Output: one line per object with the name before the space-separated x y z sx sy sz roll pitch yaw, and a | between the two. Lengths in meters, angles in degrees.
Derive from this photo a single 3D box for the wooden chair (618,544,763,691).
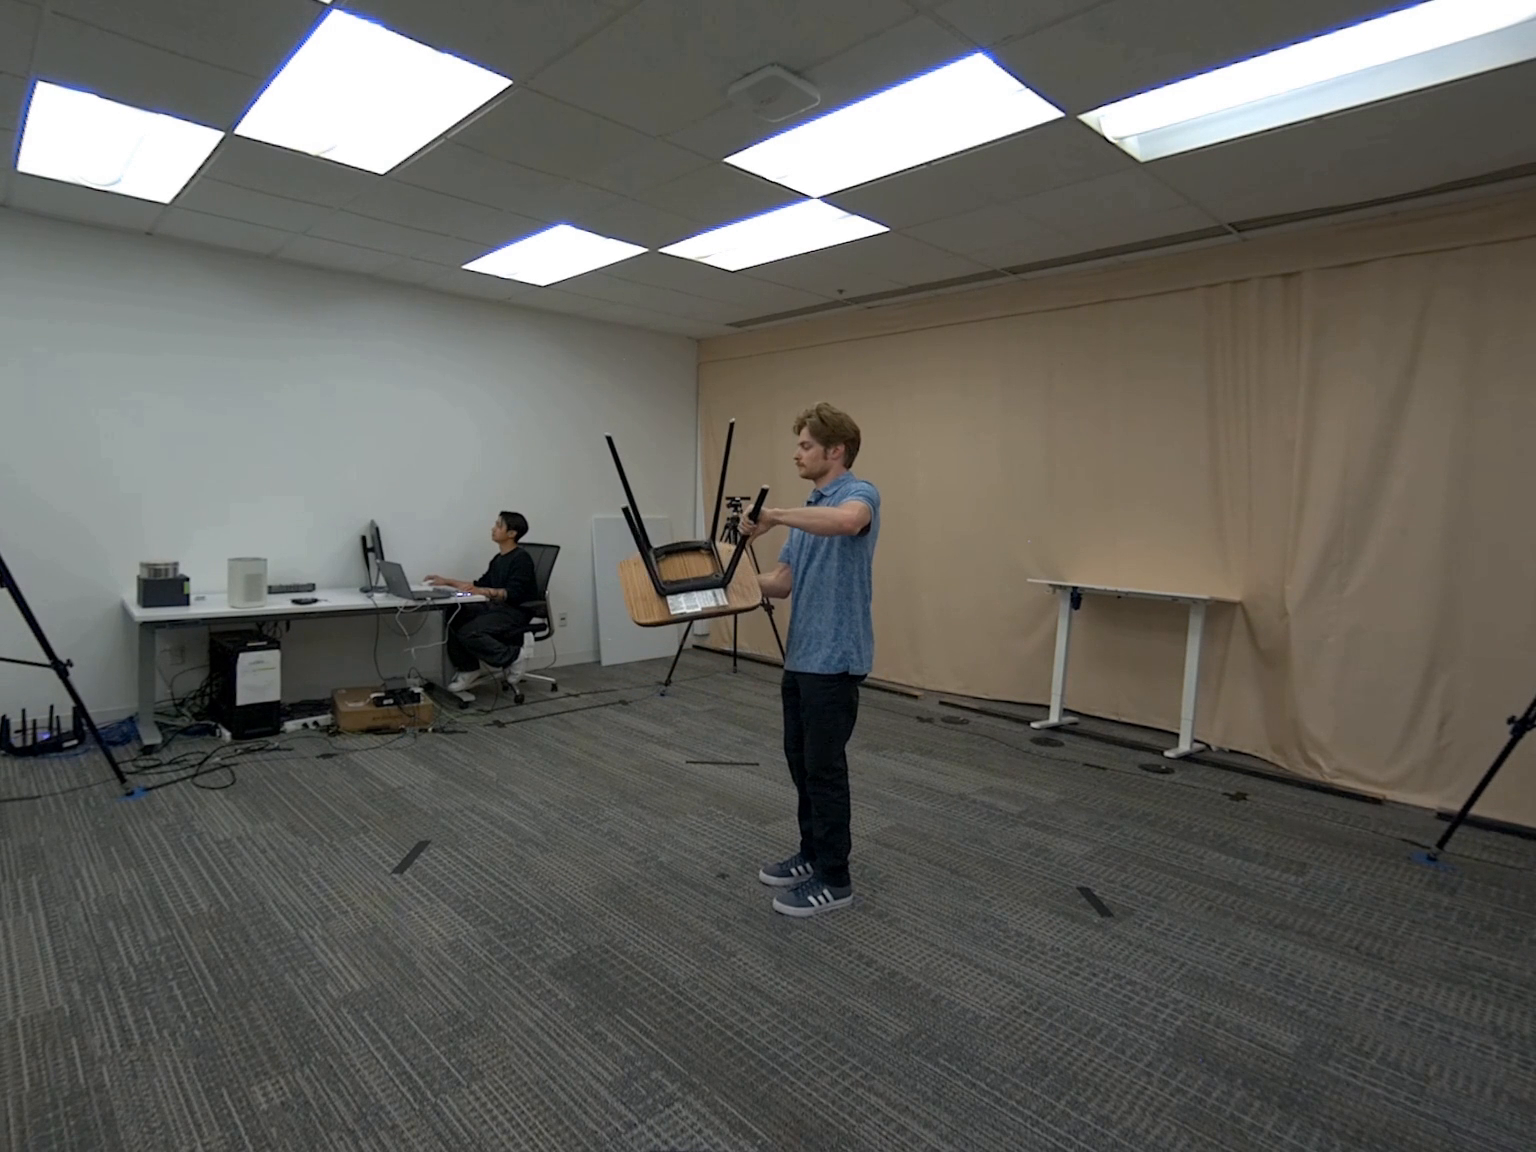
wooden chair | -0.291 -0.031 2.944 0.474 0.859 0.538 -8 42 -12
